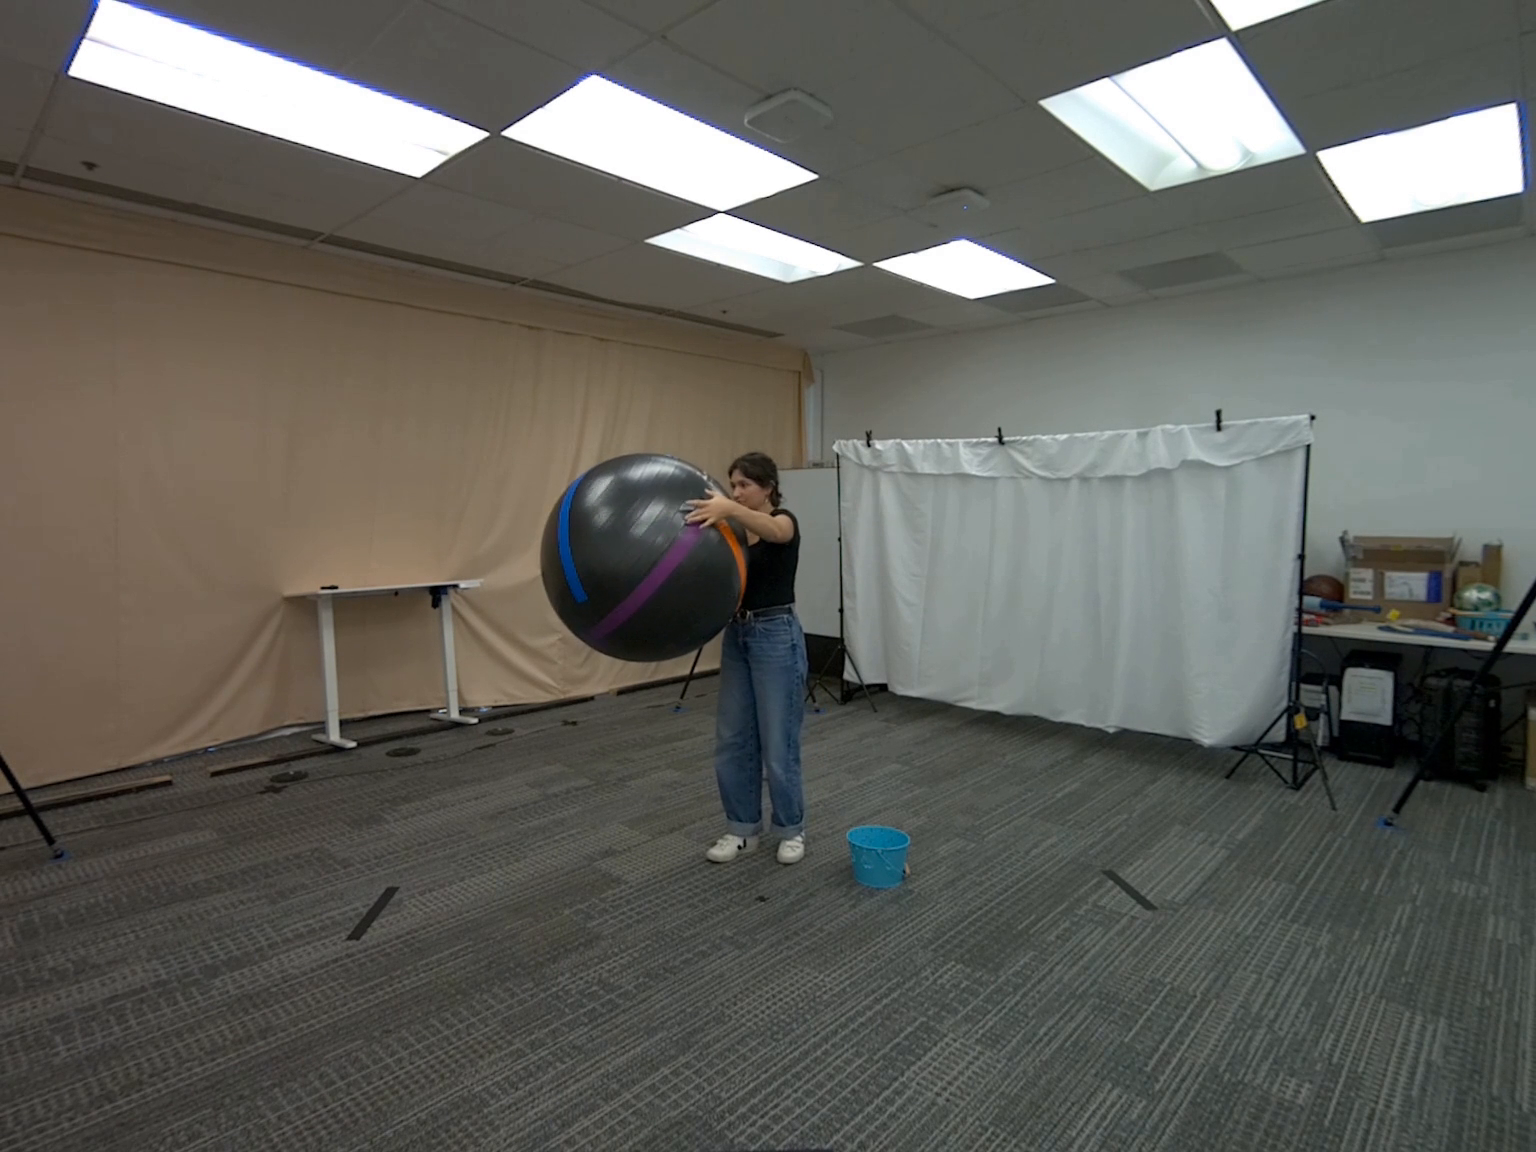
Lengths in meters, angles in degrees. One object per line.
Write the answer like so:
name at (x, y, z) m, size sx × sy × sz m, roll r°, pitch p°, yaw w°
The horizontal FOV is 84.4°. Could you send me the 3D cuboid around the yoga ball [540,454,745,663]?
yoga ball at (-0.449, -0.065, 3.066) m, size 0.757 × 0.756 × 0.760 m, roll 0°, pitch 4°, yaw -2°
